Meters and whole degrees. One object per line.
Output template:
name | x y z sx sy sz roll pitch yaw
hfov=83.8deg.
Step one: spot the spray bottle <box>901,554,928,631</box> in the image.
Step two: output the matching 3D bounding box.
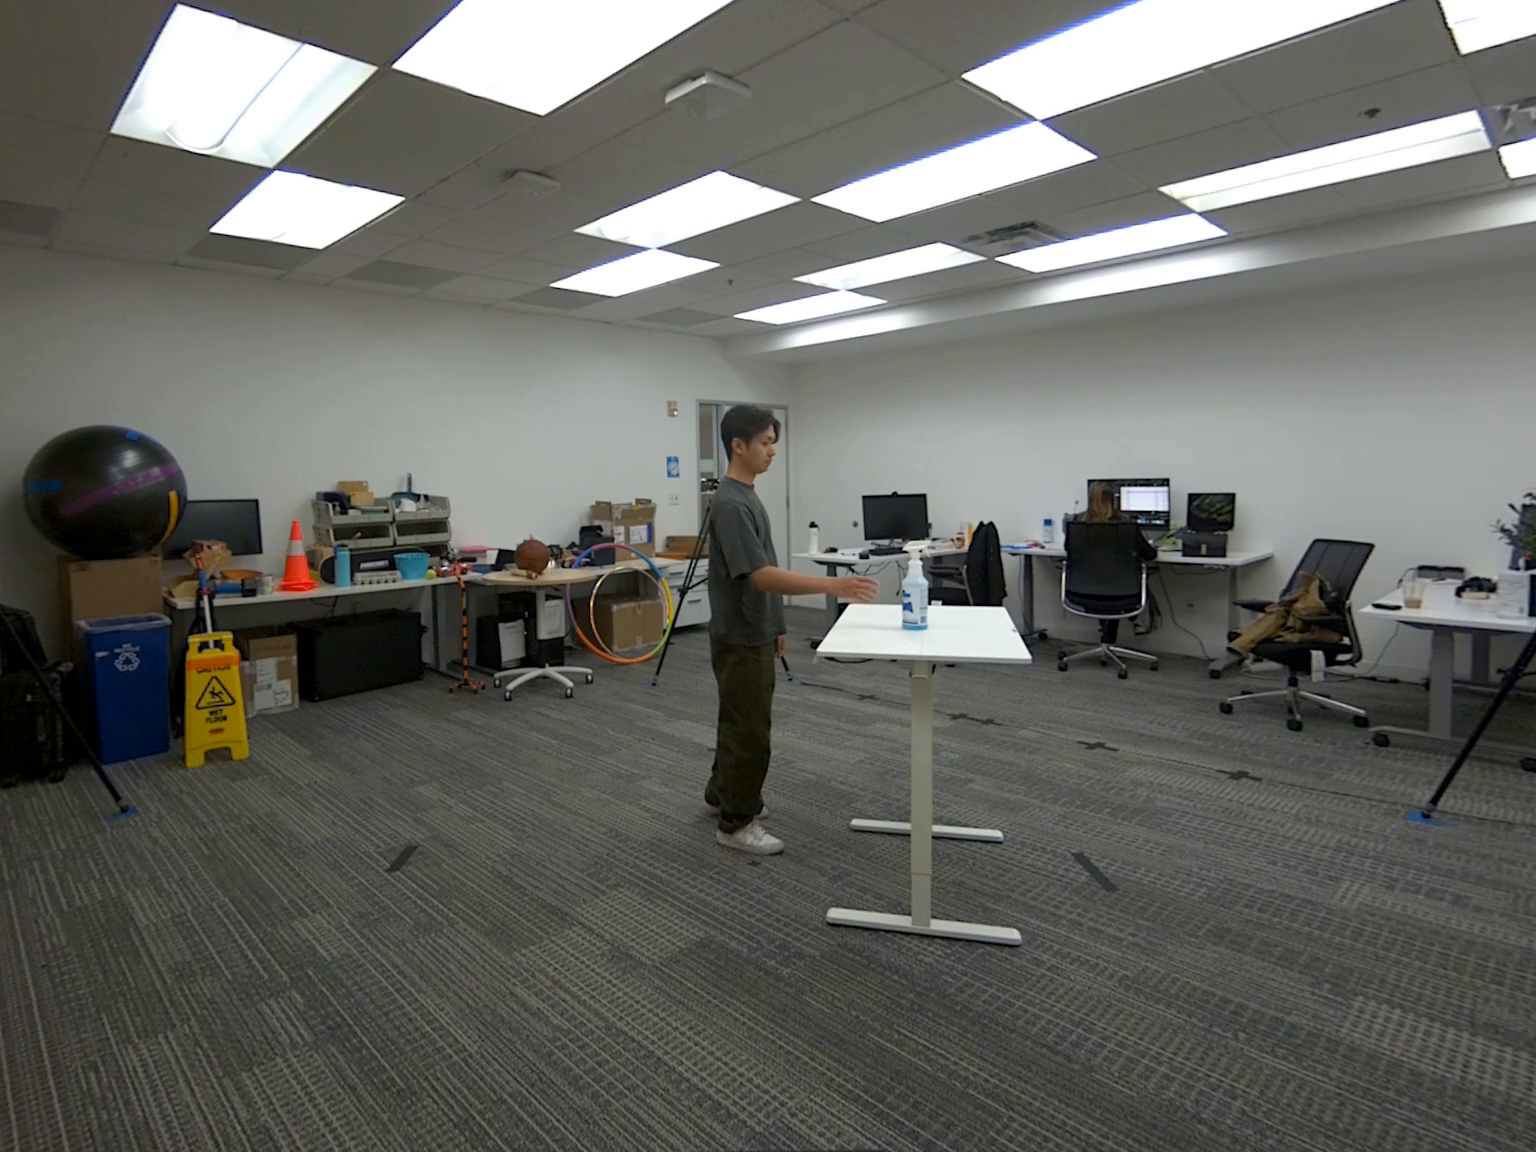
spray bottle | 0.500 0.033 2.880 0.092 0.296 0.085 3 5 30
